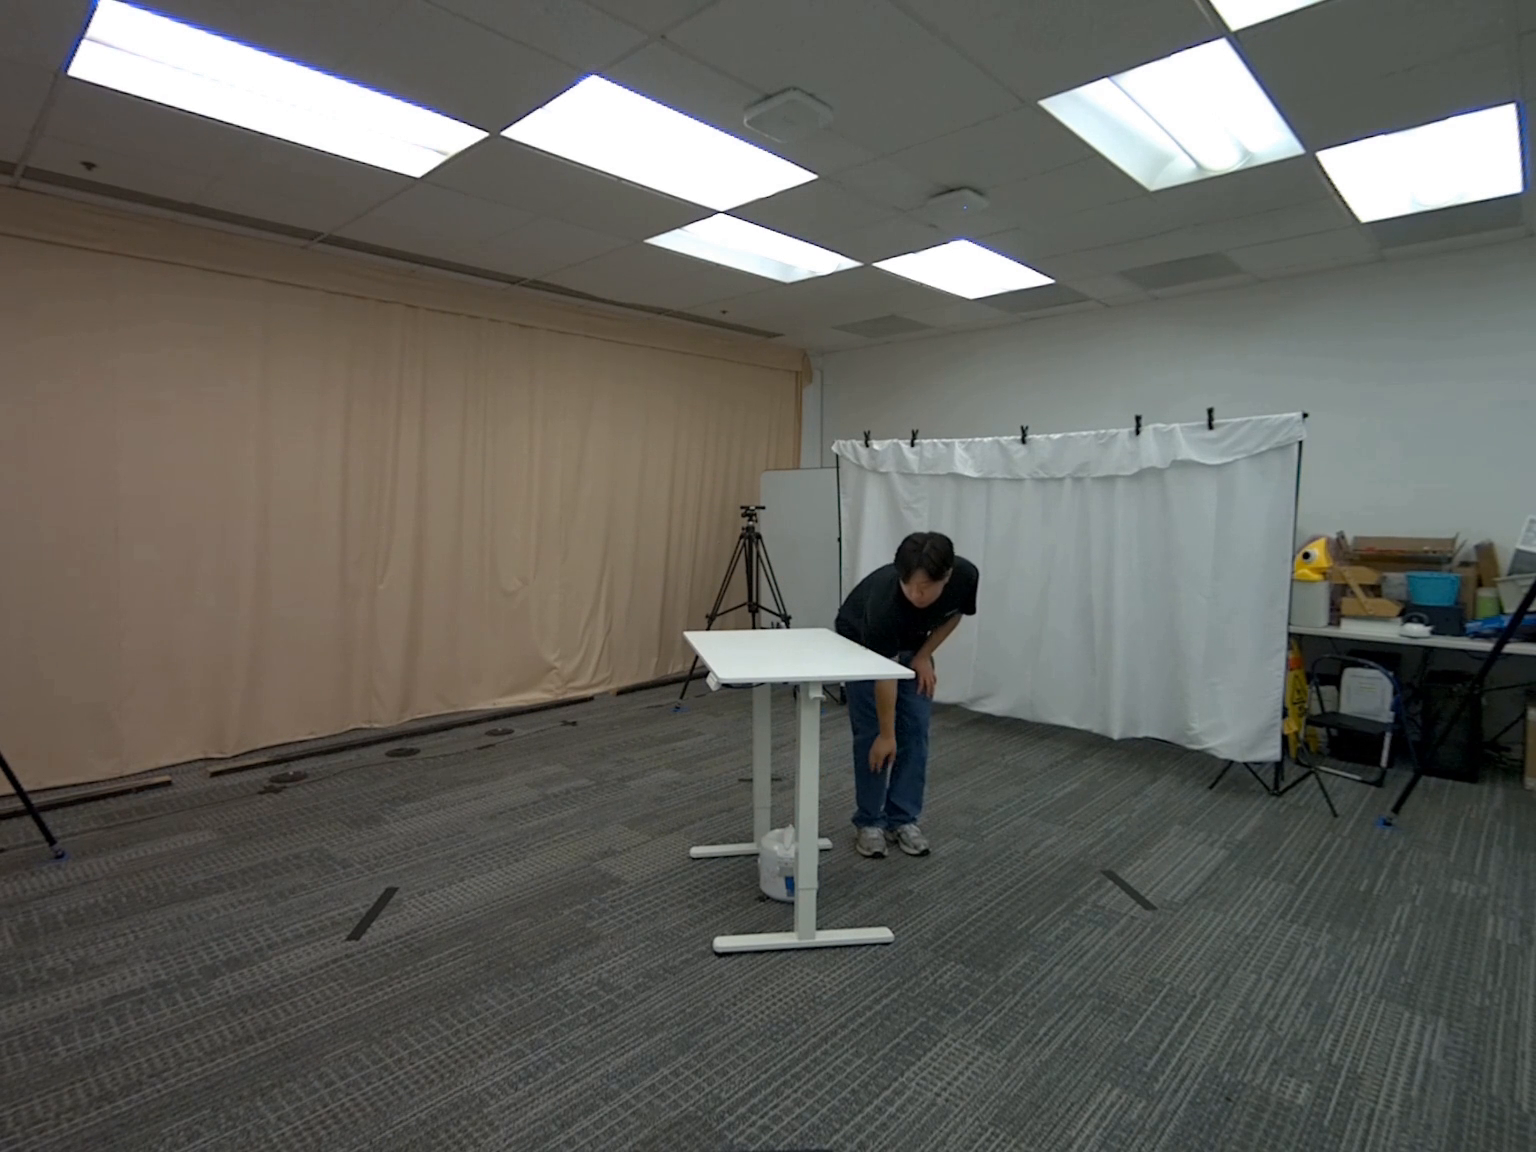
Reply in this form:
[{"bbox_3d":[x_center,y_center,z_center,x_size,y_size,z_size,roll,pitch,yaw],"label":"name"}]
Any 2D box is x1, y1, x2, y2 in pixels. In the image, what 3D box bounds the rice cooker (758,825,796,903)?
[{"bbox_3d":[0.079,1.023,3.021,0.220,0.232,0.219,2,4,9],"label":"rice cooker"}]
